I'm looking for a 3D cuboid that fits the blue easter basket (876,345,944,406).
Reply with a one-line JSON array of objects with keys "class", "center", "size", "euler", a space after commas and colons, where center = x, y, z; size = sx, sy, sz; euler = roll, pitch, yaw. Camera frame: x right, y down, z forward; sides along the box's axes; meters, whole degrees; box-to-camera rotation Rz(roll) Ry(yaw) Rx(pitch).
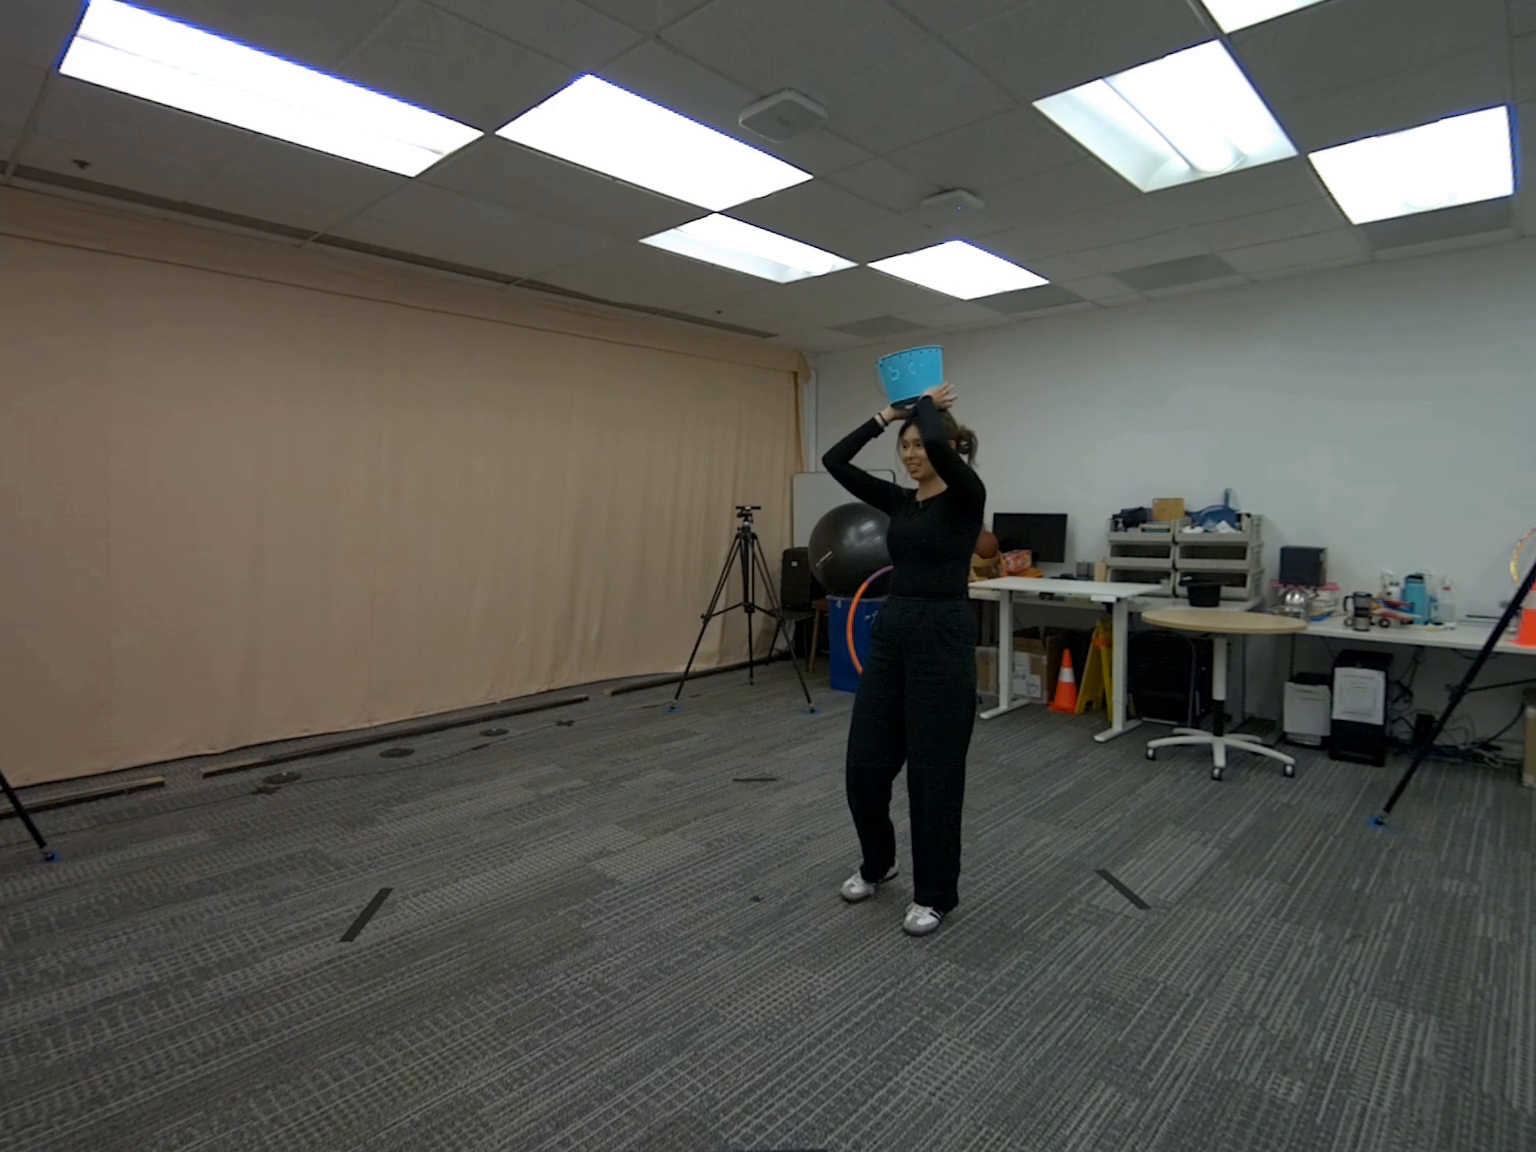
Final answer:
[{"class": "blue easter basket", "center": [0.501, -0.677, 2.864], "size": [0.243, 0.156, 0.244], "euler": [-8, 0, -2]}]
